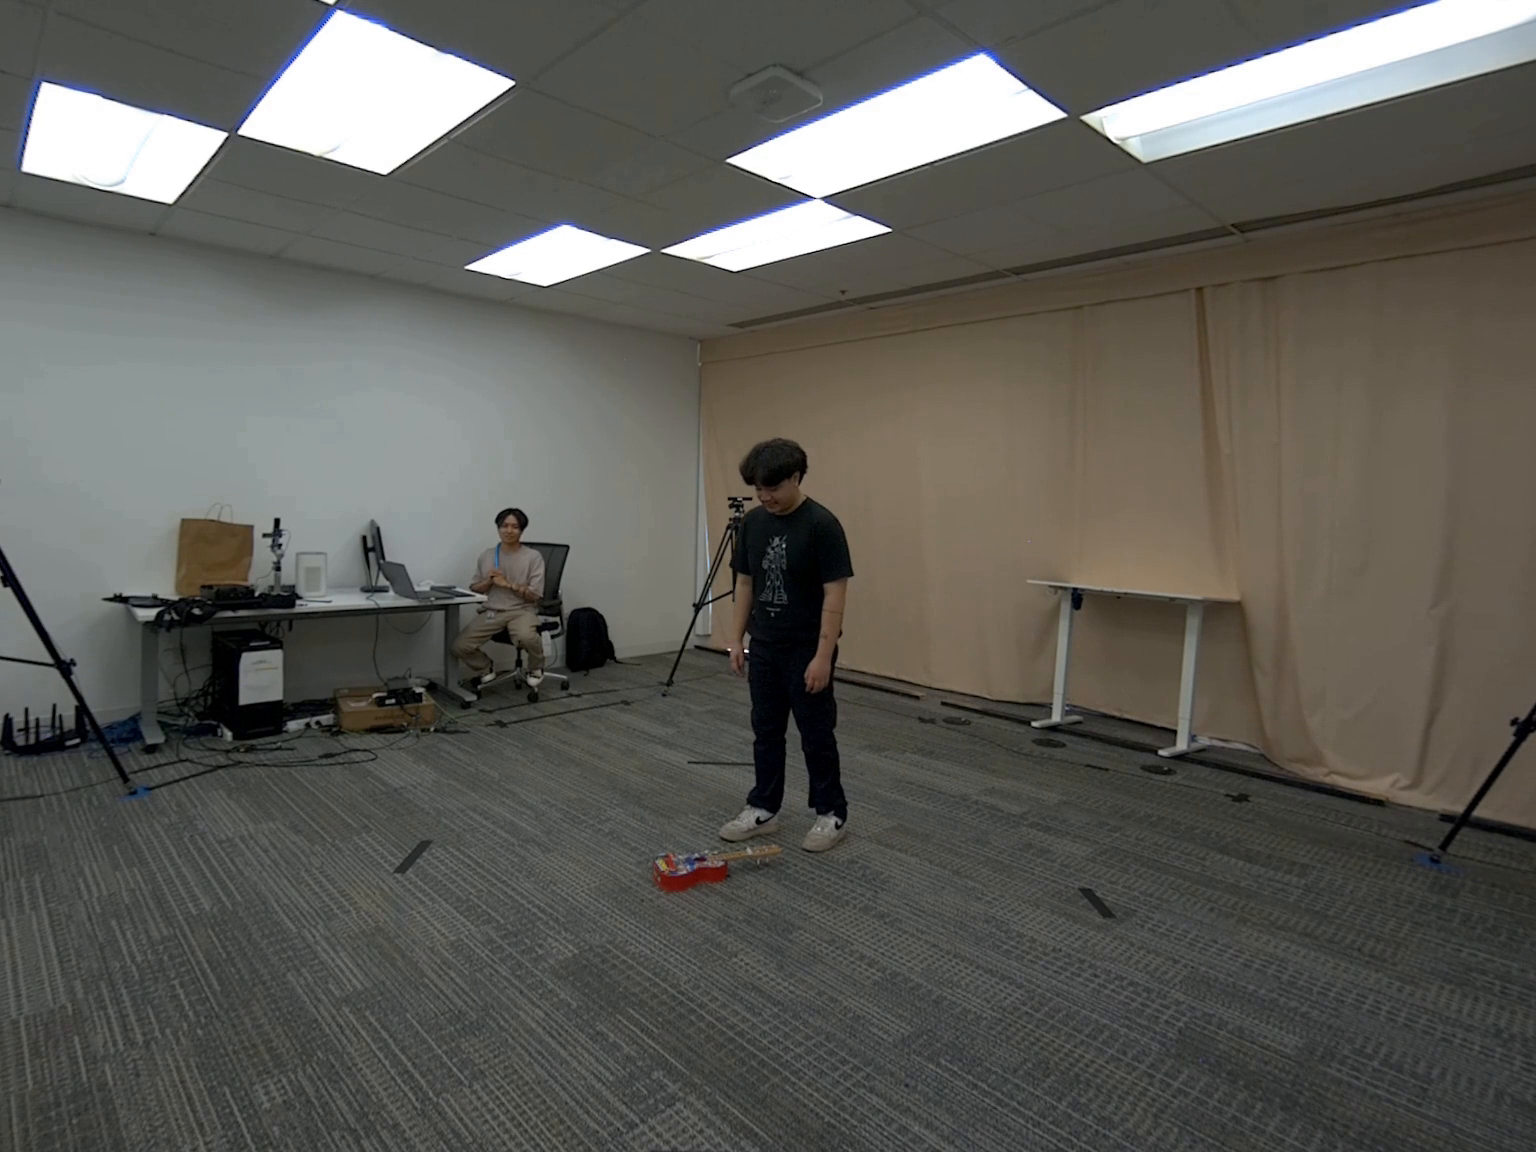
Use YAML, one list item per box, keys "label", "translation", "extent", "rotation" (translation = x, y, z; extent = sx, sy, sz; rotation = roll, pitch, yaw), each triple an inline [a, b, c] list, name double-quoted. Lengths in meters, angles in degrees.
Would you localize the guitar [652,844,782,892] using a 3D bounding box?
- label: "guitar"
  translation: [-0.181, 1.071, 3.102]
  extent: [0.493, 0.070, 0.195]
  rotation: [-1, 5, -12]
